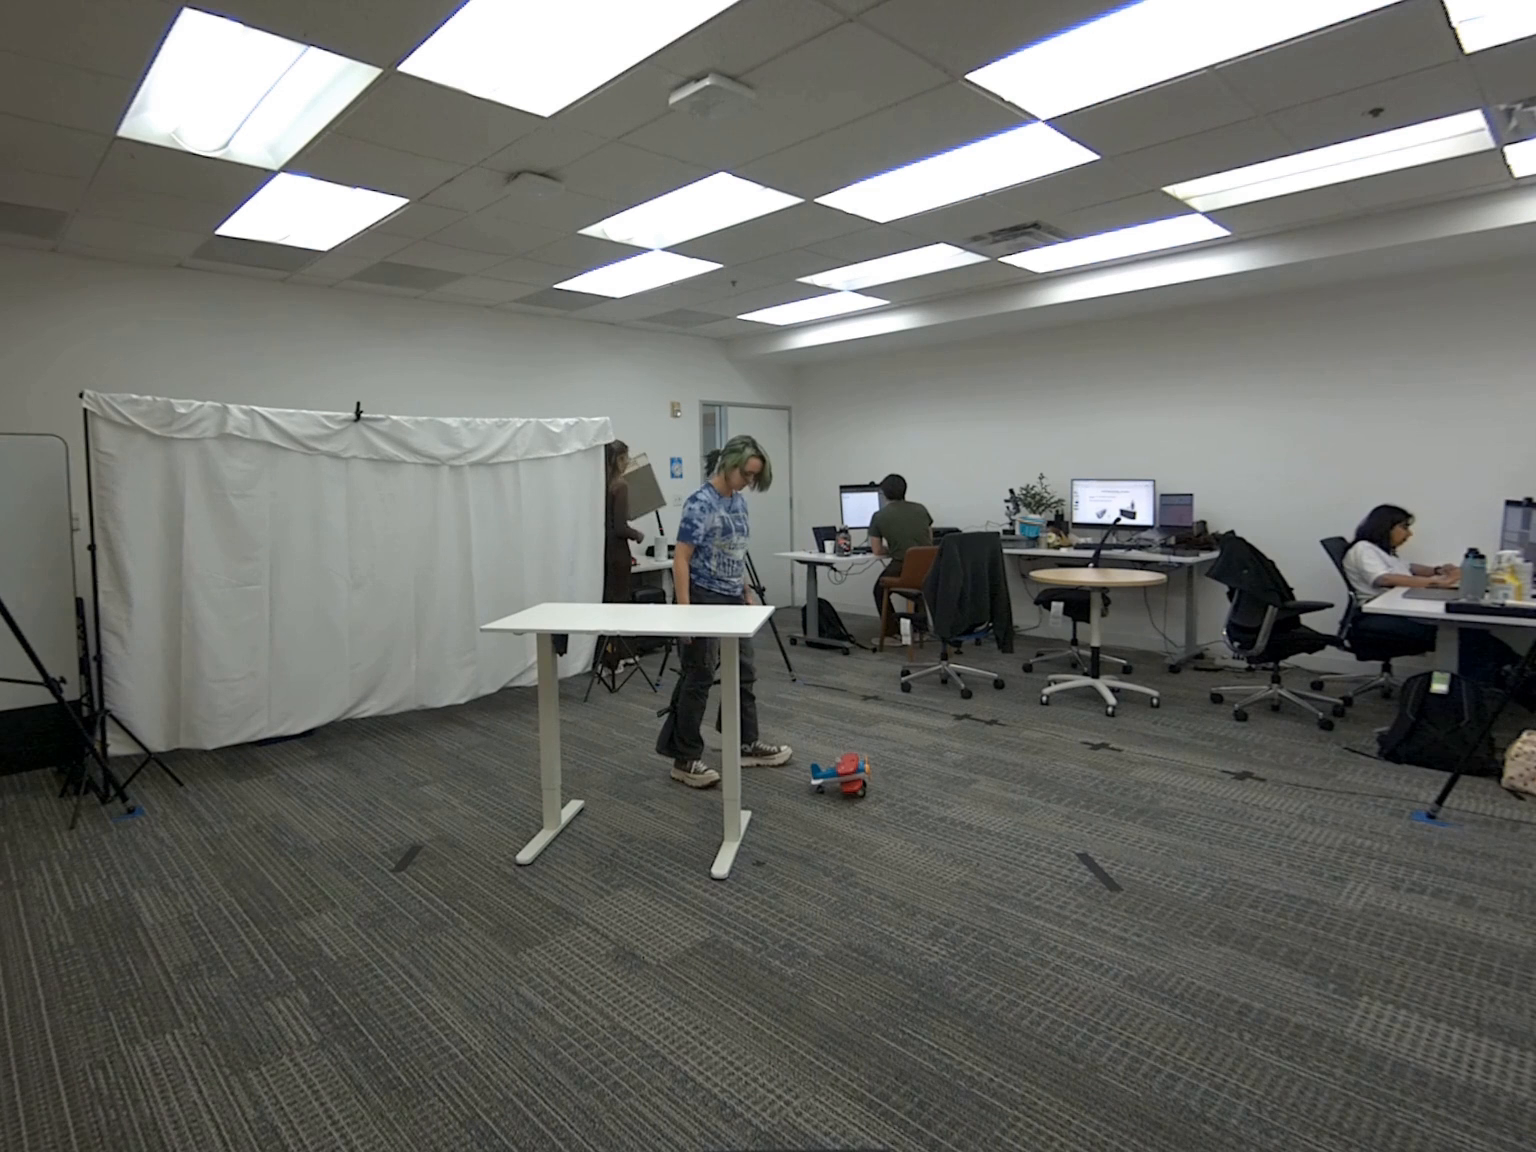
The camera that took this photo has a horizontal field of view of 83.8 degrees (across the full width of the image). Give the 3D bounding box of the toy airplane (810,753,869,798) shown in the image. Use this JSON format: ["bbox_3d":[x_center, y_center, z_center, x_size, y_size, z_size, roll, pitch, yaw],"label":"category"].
[{"bbox_3d":[0.324,0.892,3.774,0.255,0.156,0.256,-3,6,-18],"label":"toy airplane"}]
